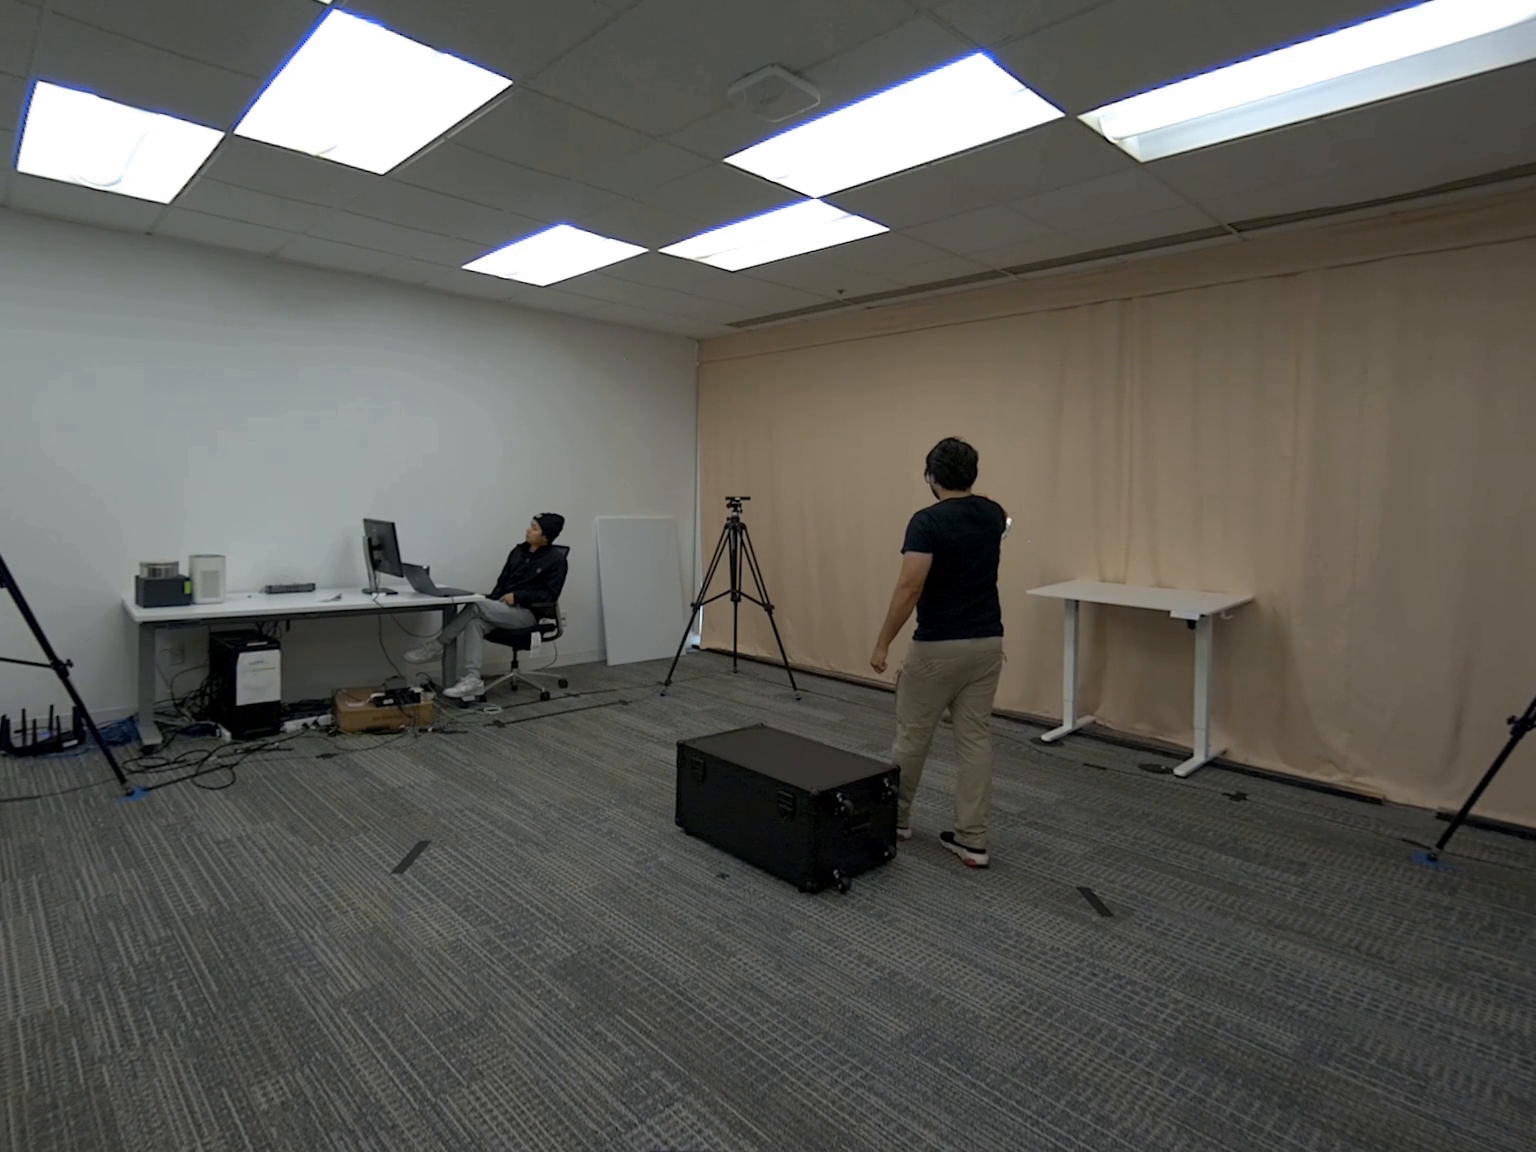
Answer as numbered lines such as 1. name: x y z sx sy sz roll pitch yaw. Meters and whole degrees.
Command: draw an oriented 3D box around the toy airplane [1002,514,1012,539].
1. toy airplane: 1.034 -0.264 4.035 0.263 0.255 0.151 -17 -40 30
